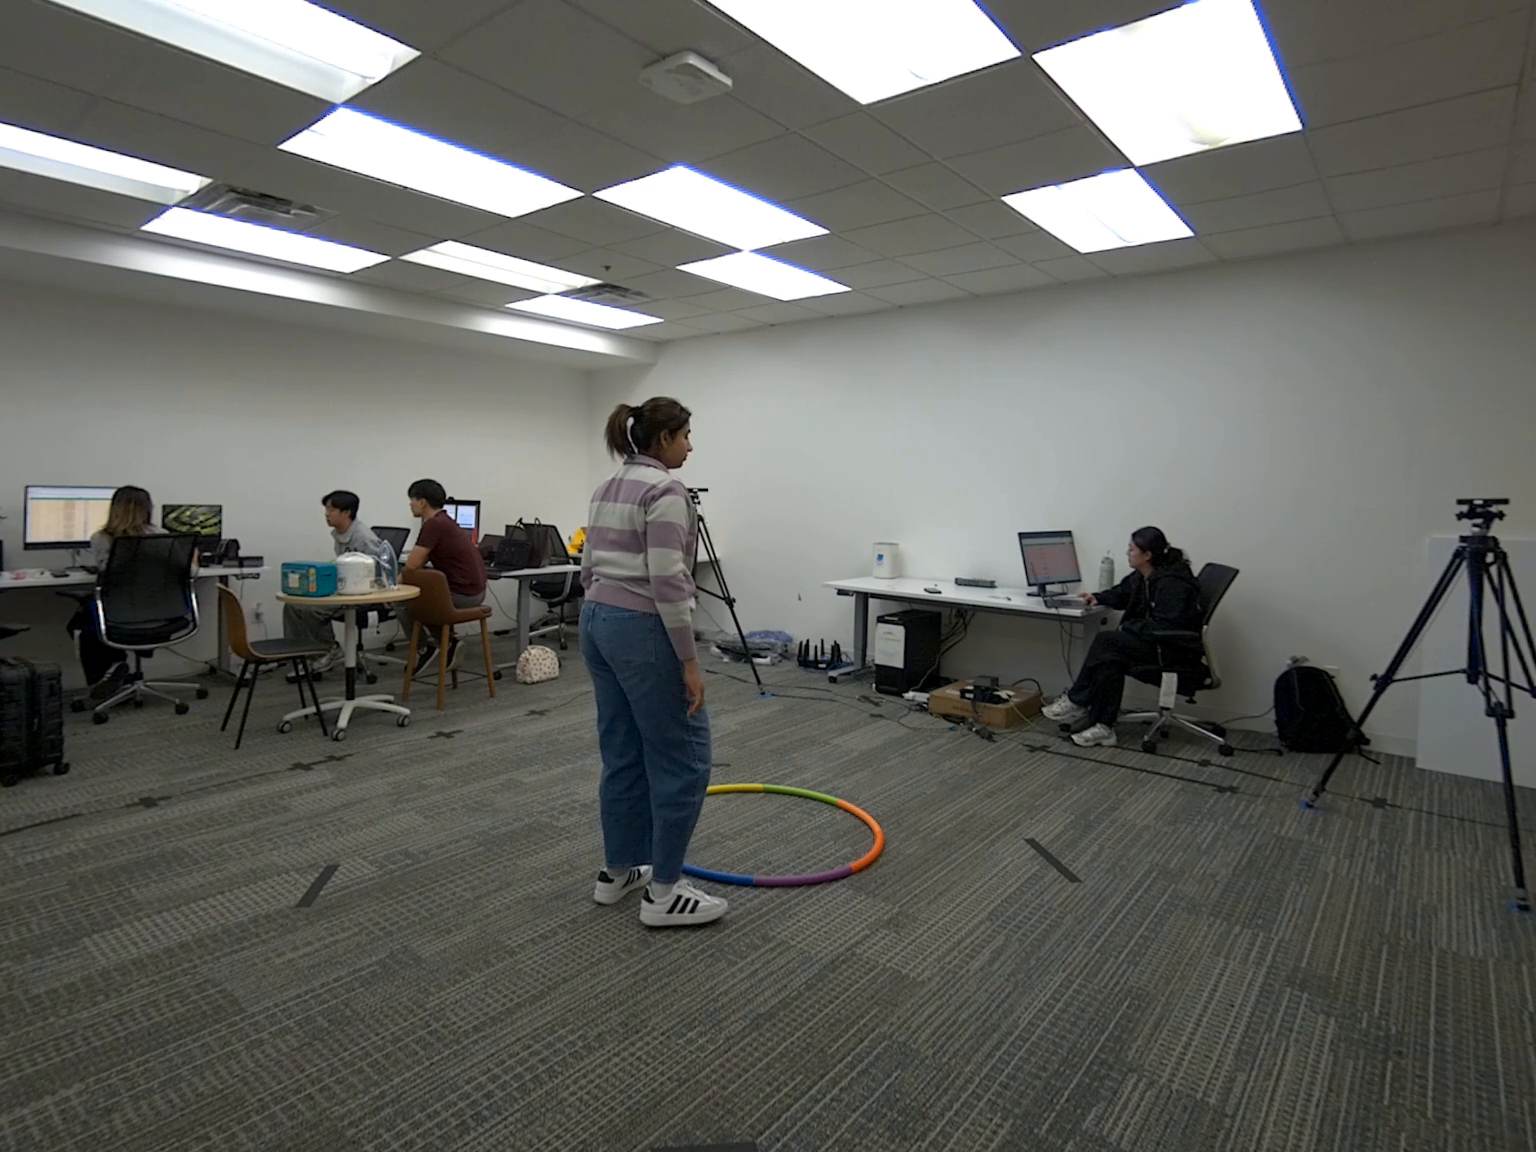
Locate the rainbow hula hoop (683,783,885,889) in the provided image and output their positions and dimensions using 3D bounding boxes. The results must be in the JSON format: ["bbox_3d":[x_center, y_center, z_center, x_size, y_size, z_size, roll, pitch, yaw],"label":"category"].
[{"bbox_3d":[-0.042,1.009,3.452,0.978,0.035,0.984,1,6,-2],"label":"rainbow hula hoop"}]
